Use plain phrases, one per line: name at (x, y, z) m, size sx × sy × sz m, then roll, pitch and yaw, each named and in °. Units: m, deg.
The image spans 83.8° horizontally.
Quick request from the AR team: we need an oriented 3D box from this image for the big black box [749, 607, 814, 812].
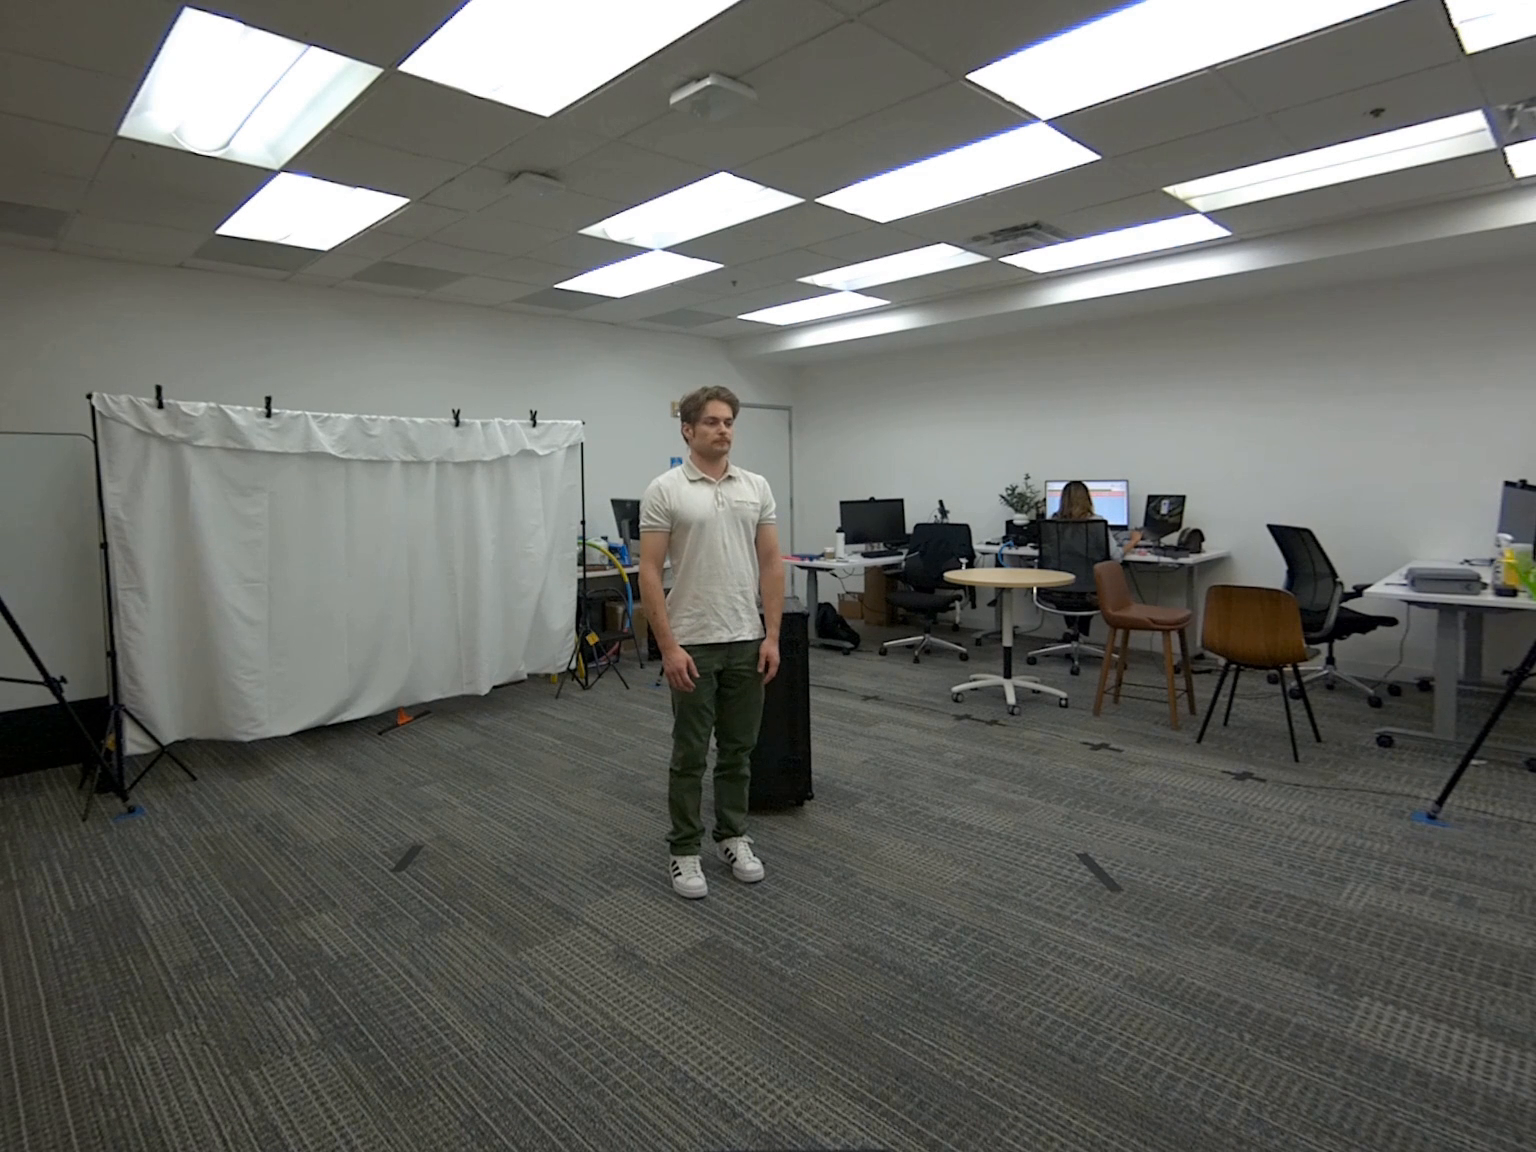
big black box at (-0.023, 0.551, 3.744) m, size 0.396 × 0.858 × 0.524 m, roll -2°, pitch 4°, yaw -2°
